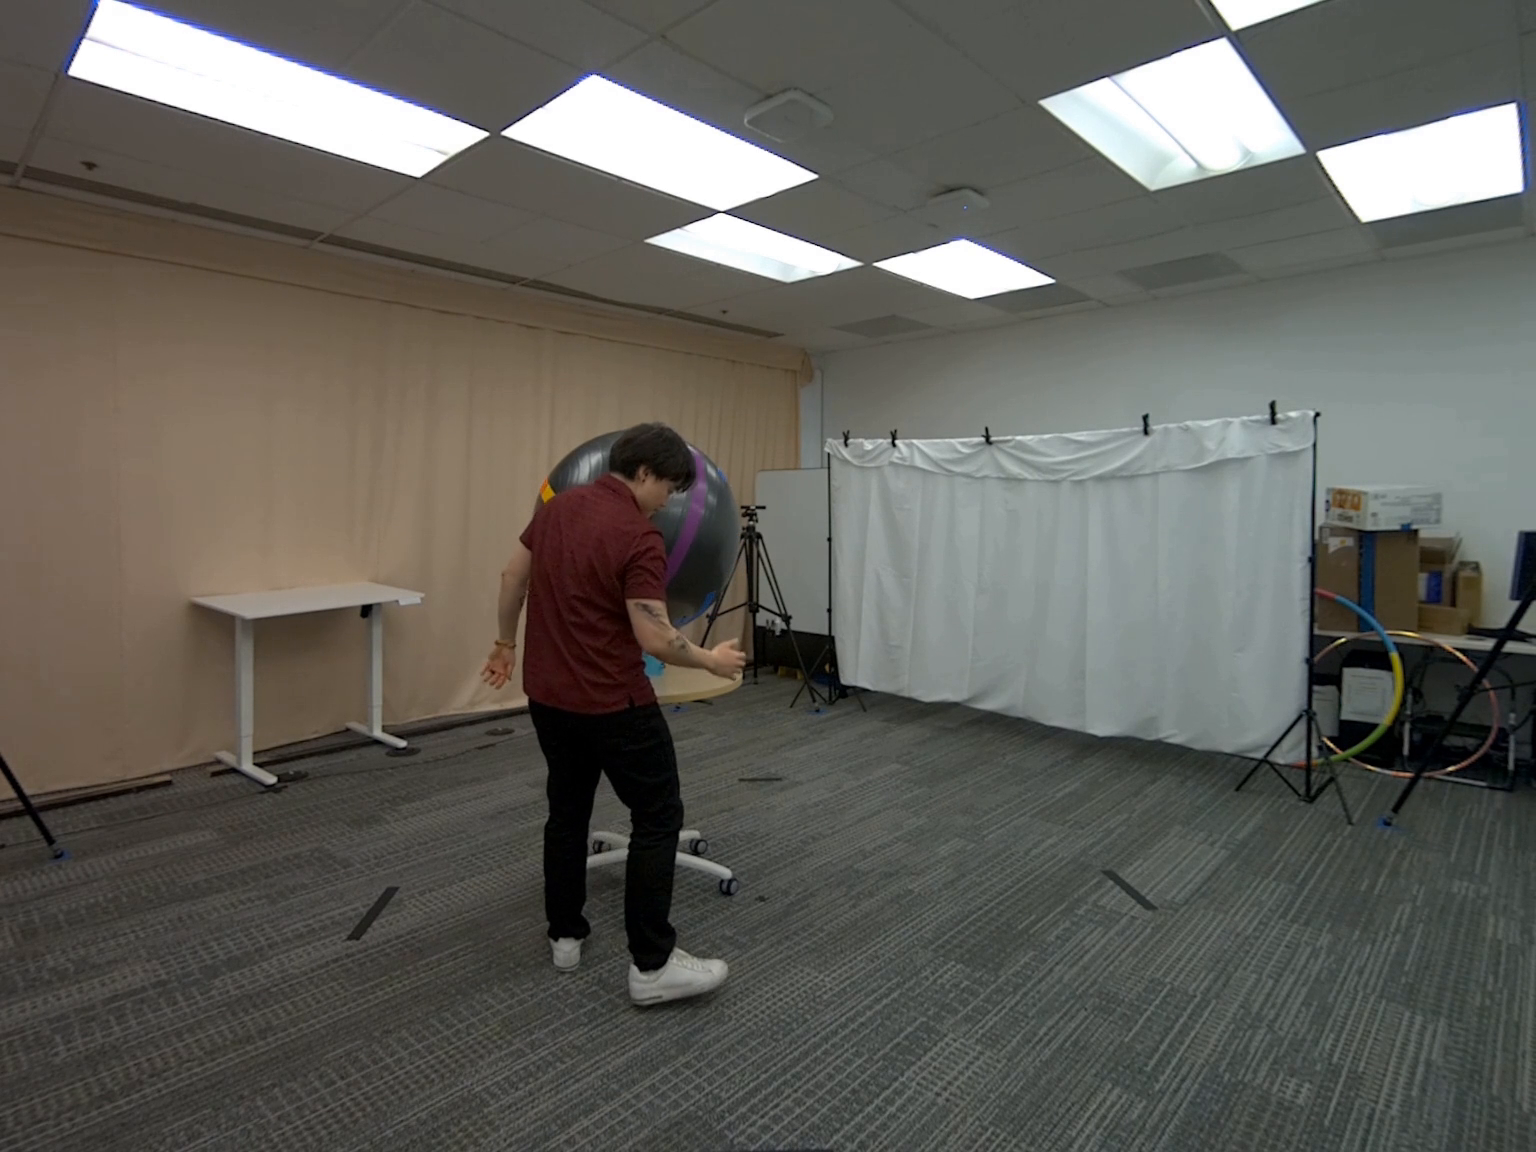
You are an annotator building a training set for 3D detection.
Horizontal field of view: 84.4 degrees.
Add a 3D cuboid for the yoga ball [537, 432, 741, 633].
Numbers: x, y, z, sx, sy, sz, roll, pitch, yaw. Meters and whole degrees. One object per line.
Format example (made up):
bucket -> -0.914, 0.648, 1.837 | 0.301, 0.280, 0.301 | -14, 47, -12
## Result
yoga ball -> -0.482, -0.152, 3.089 | 0.757, 0.756, 0.761 | 0, 4, -2
